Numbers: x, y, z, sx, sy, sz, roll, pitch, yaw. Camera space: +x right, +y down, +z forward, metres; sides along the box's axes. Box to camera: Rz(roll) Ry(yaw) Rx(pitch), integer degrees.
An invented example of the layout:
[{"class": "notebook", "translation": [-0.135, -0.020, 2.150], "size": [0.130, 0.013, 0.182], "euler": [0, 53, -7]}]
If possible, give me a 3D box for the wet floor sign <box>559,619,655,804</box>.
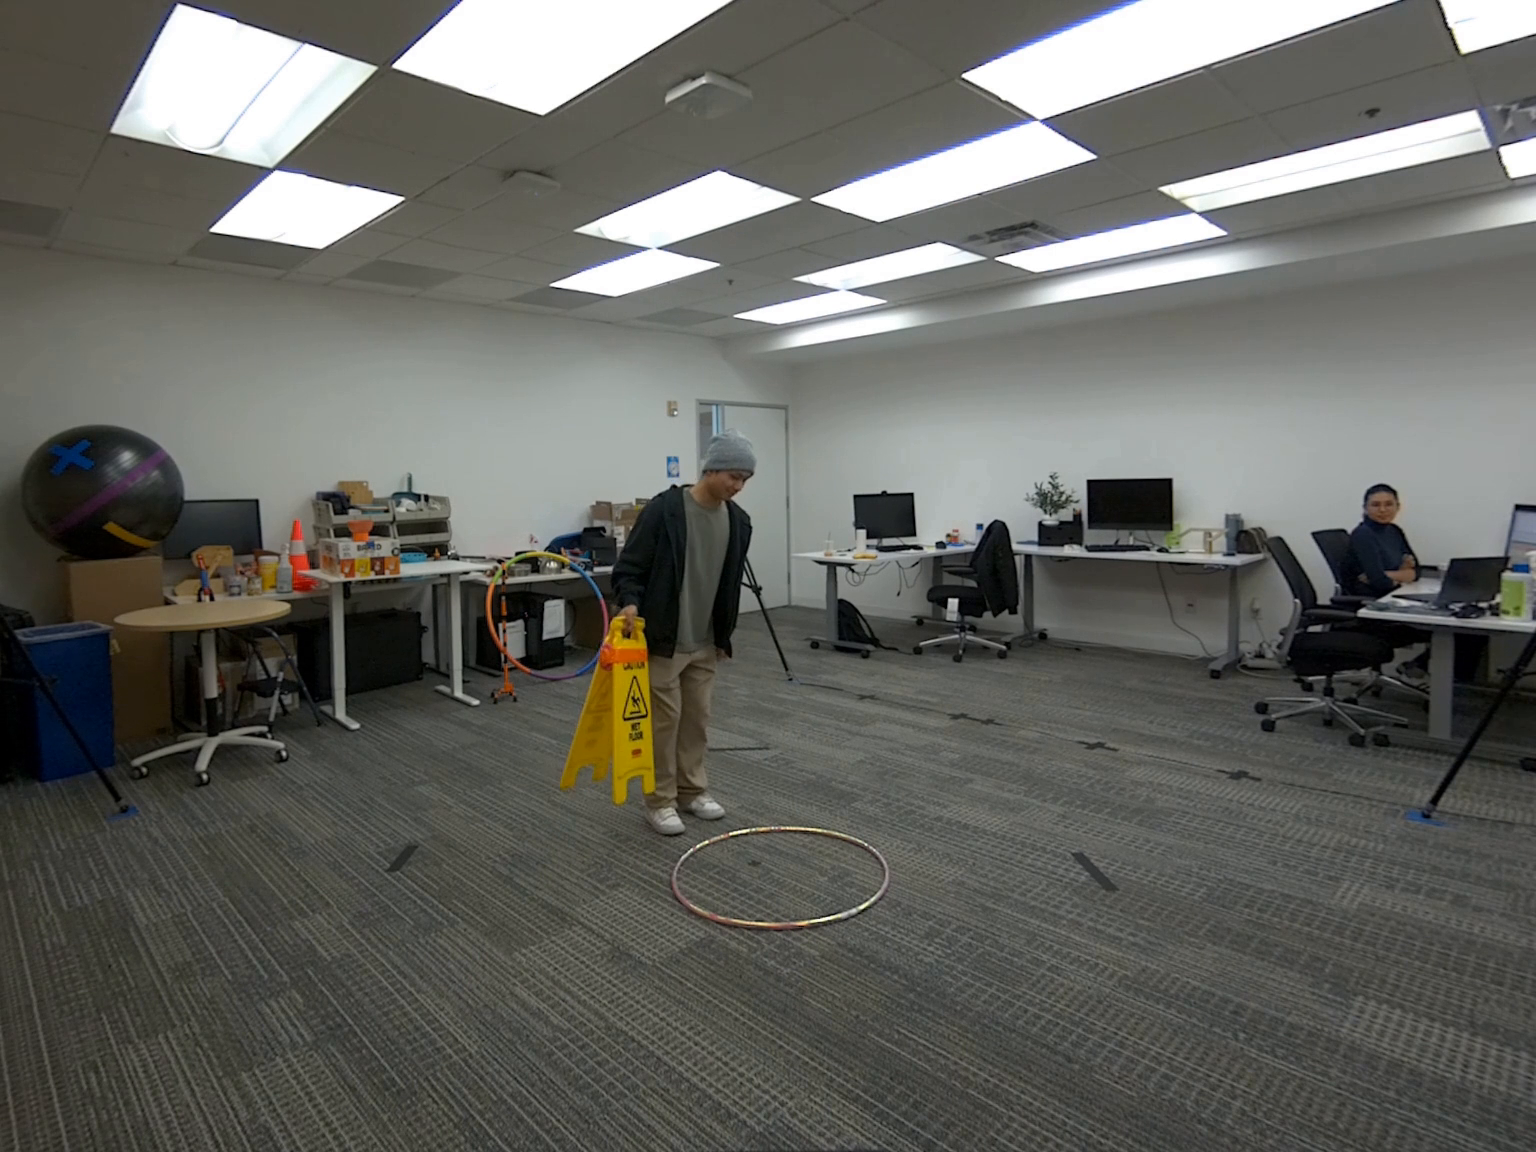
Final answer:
[{"class": "wet floor sign", "translation": [-0.558, 0.488, 3.196], "size": [0.297, 0.647, 0.275], "euler": [6, -1, 24]}]
